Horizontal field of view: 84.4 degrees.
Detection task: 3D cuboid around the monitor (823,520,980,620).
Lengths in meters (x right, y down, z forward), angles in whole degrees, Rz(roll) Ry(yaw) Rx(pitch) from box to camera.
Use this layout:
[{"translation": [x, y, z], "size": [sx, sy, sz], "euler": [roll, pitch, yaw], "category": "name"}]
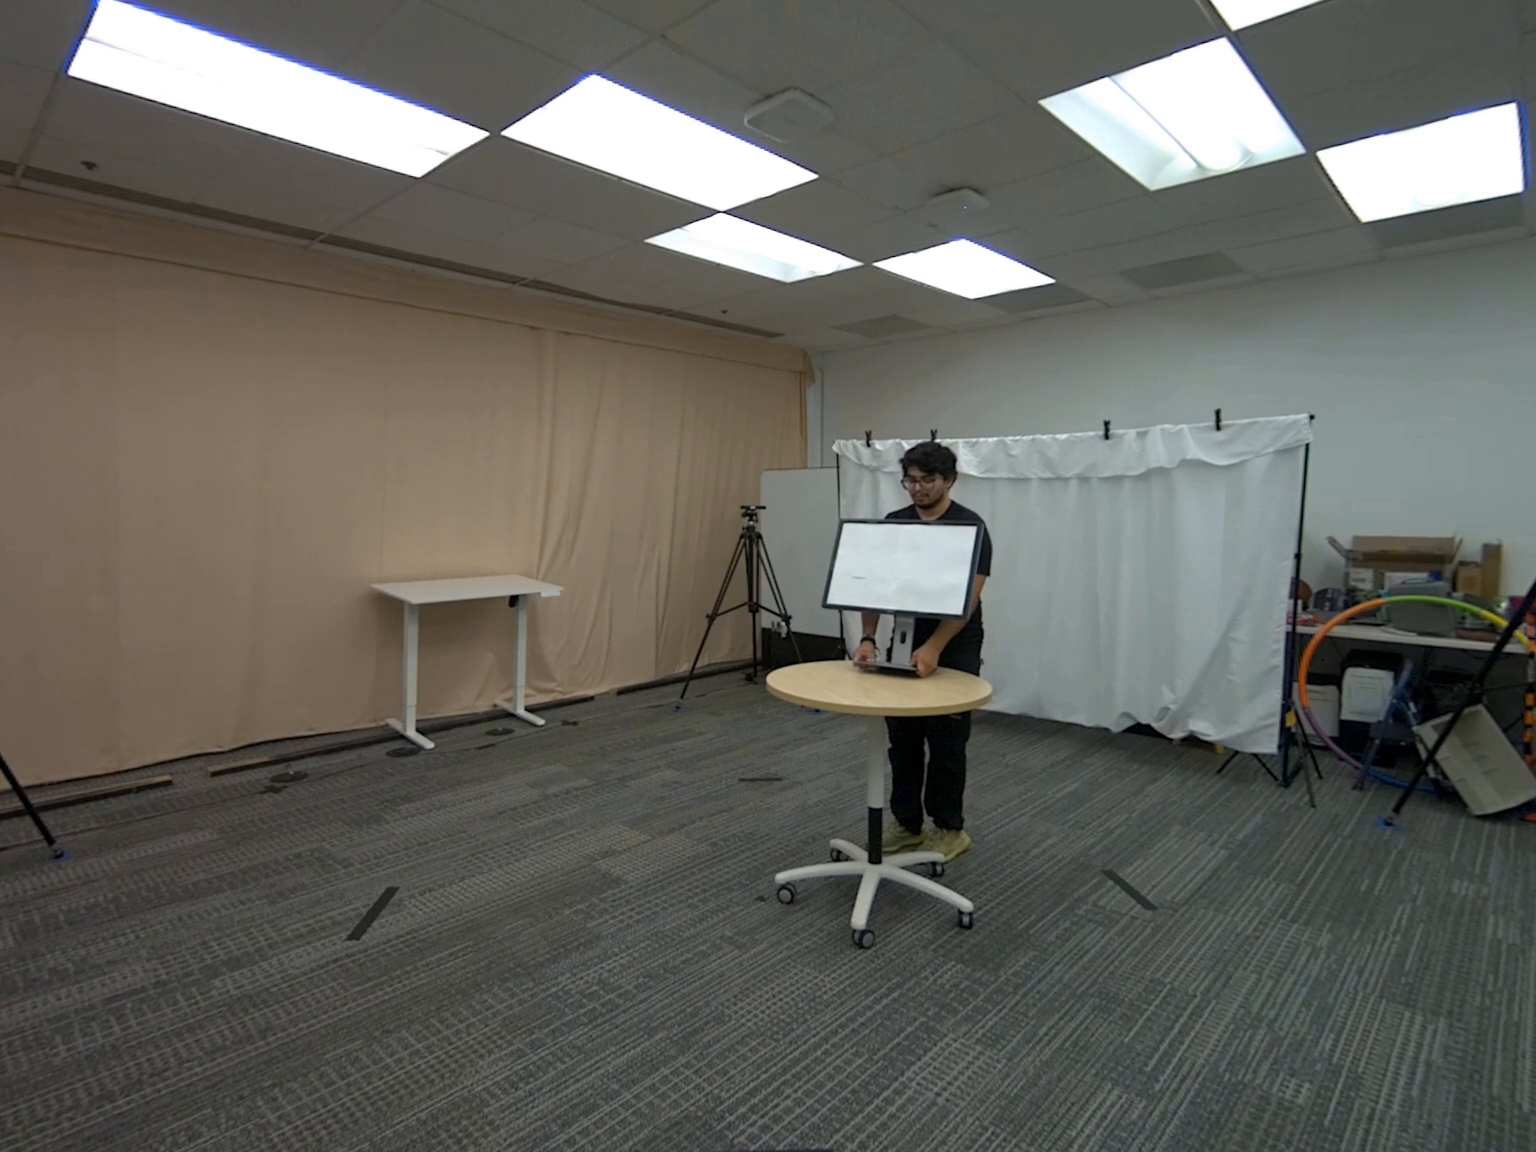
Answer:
[{"translation": [0.511, 0.074, 3.114], "size": [0.583, 0.556, 0.202], "euler": [3, -13, 36], "category": "monitor"}]
